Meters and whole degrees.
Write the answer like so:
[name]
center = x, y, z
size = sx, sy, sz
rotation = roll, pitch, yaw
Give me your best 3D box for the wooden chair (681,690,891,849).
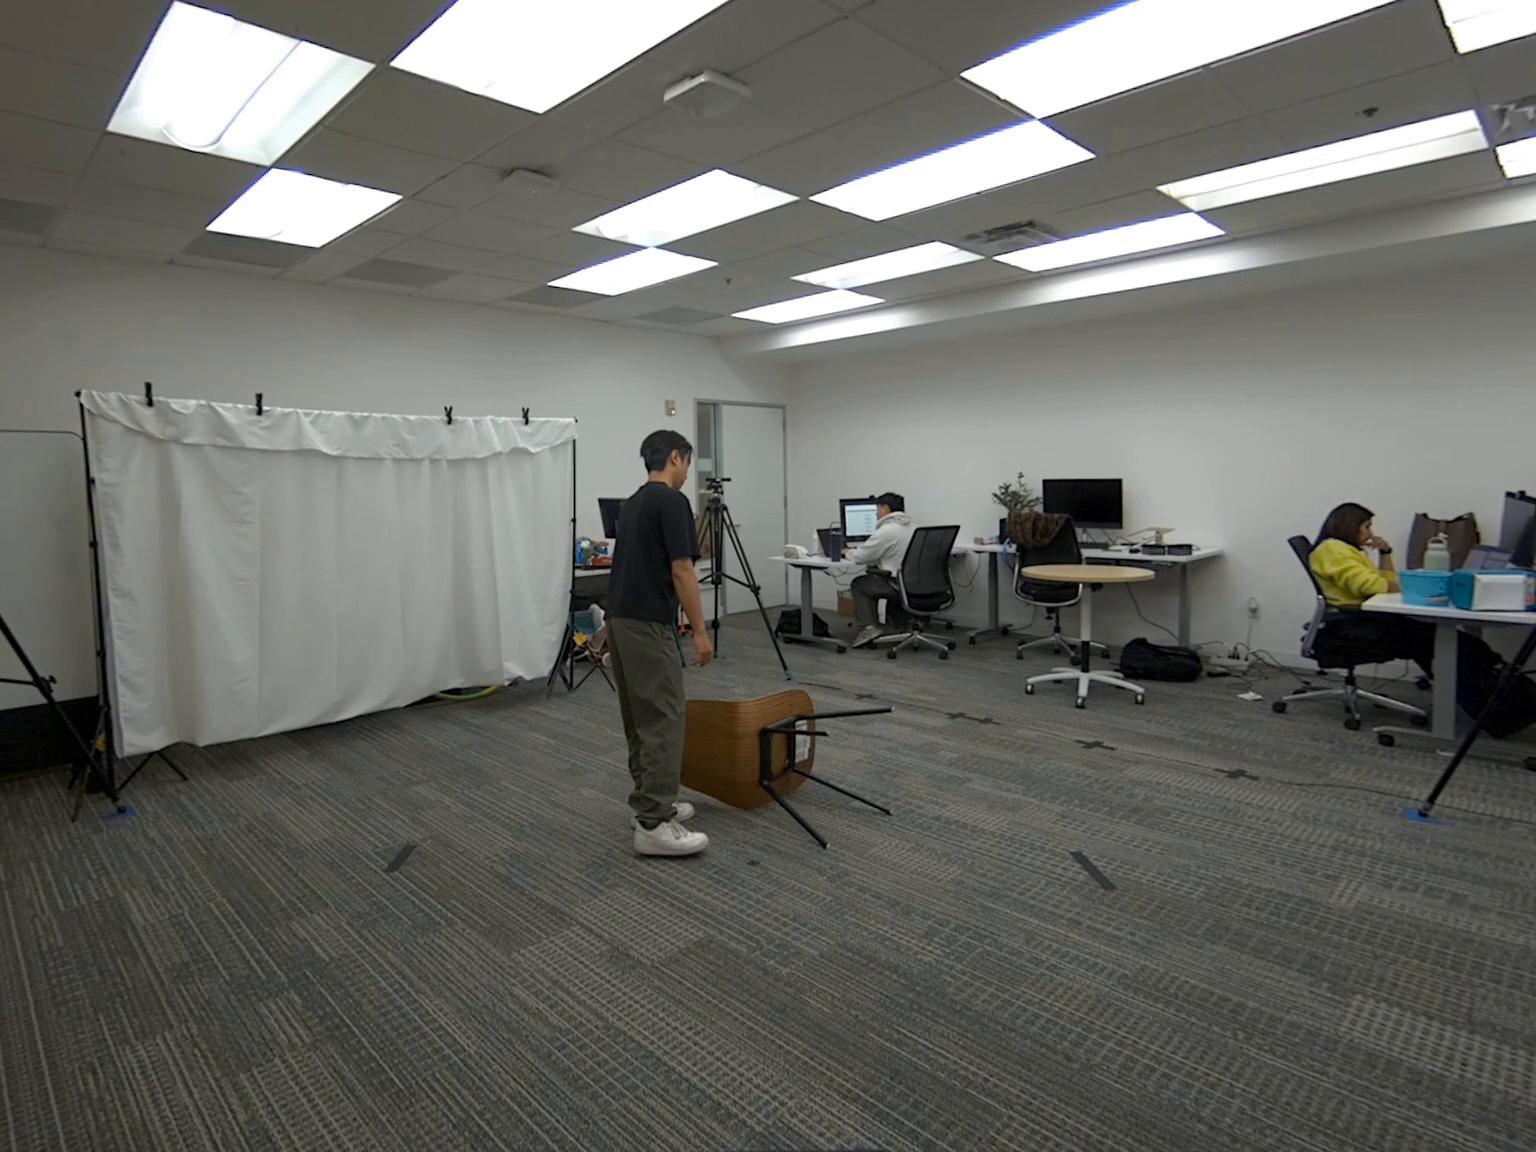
[wooden chair]
center = 0.051, 0.750, 3.650
size = 0.904, 0.476, 0.510
rotation = 4, 8, 38
